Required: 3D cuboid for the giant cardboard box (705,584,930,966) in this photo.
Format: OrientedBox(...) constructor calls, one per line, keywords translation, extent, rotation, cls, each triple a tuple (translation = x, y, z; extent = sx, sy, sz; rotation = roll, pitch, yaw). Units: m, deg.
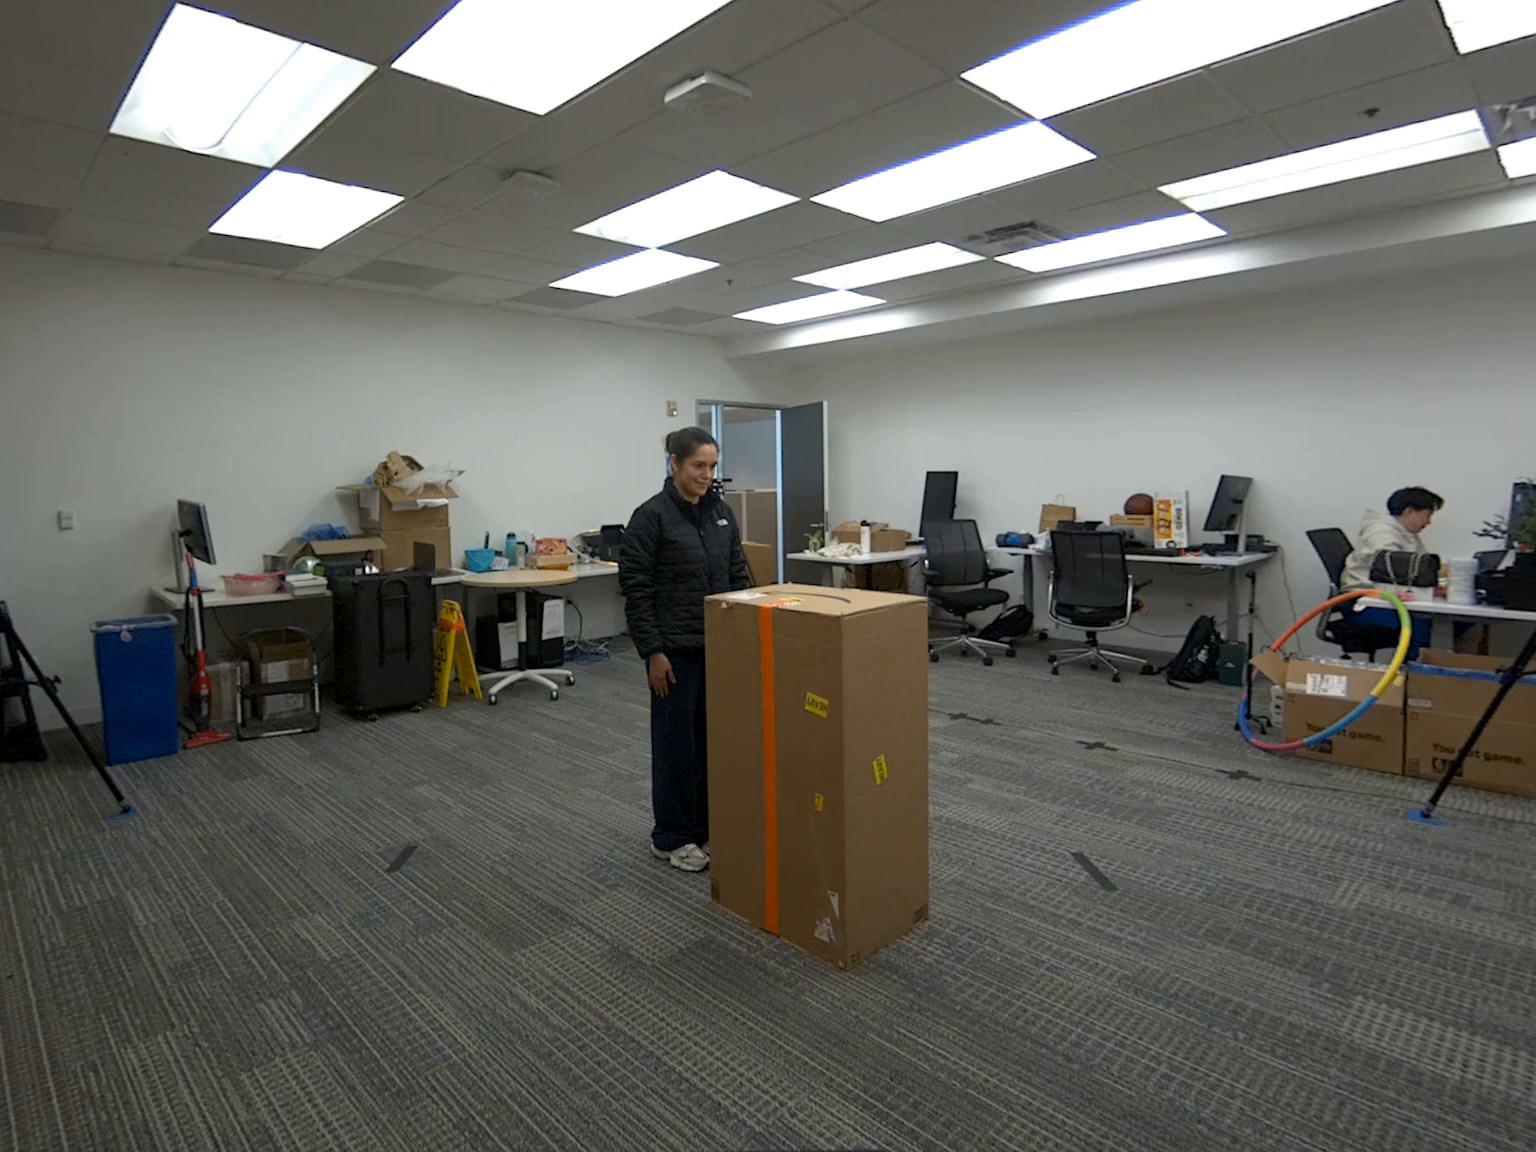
OrientedBox(translation=(0.150, 0.569, 2.736), extent=(0.435, 1.023, 0.602), rotation=(-5, 6, -44), cls="giant cardboard box")
